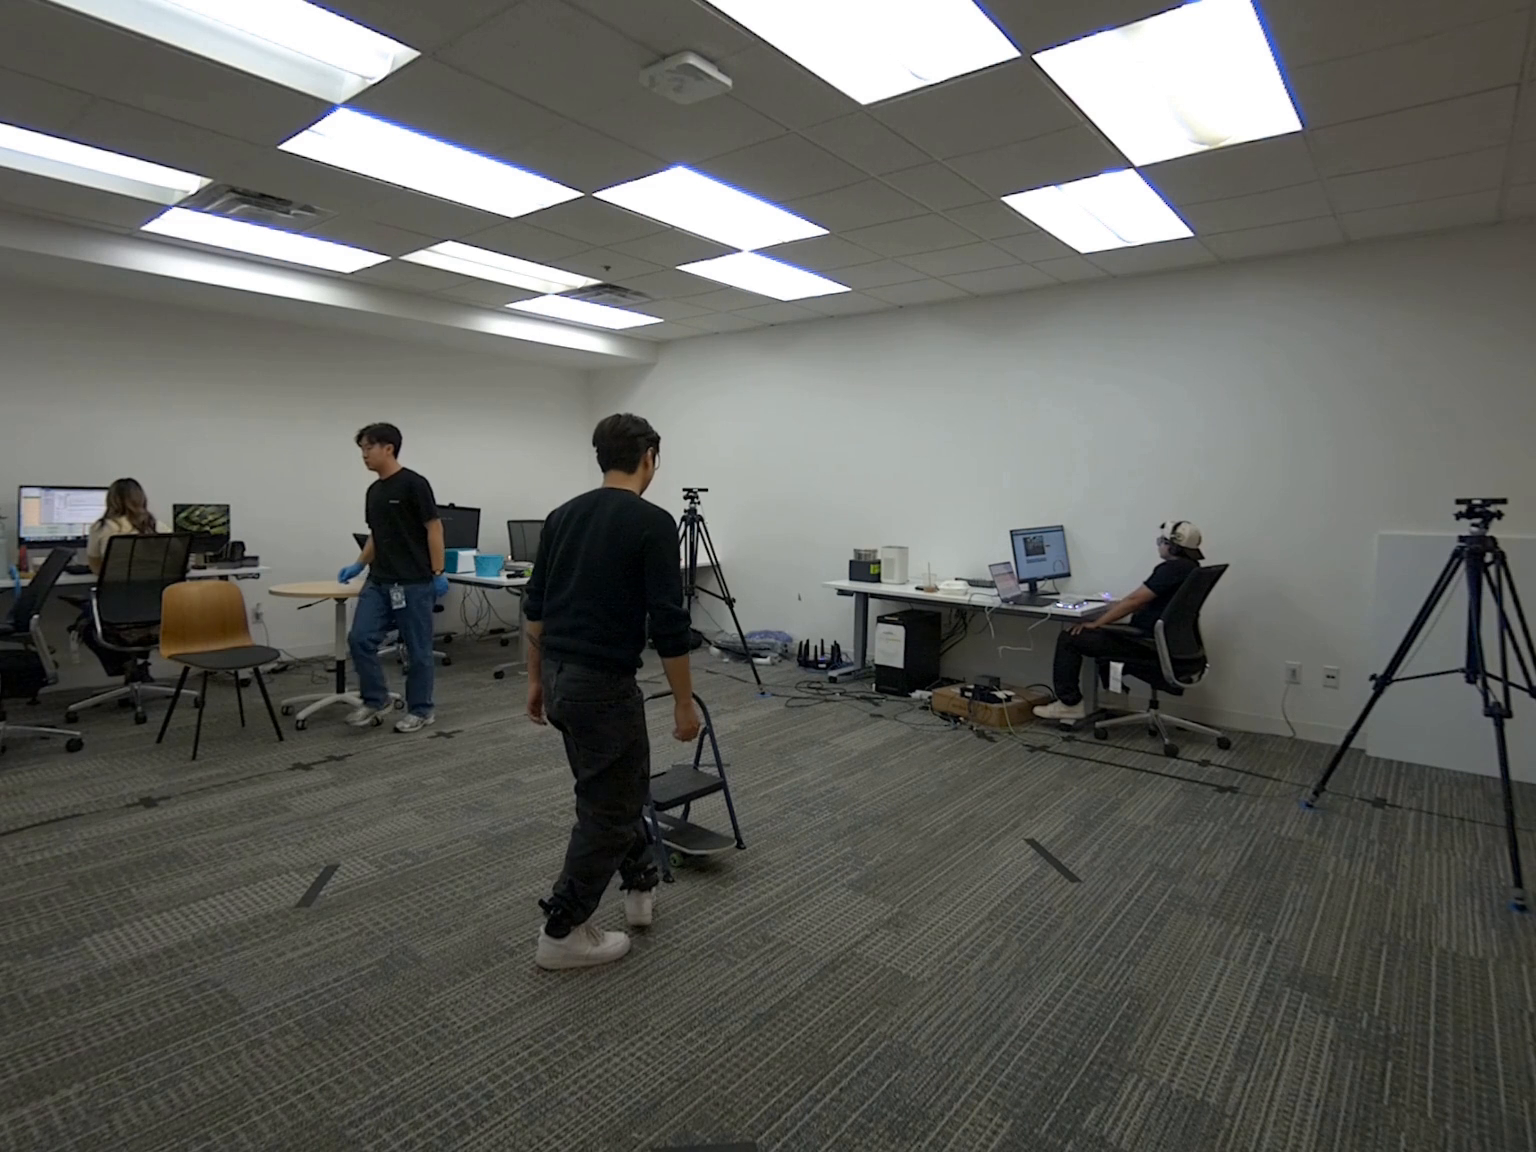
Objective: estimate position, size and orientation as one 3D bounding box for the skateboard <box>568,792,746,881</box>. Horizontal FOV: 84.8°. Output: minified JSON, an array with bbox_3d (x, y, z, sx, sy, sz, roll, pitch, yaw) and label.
[{"bbox_3d":[-0.459,0.983,3.307,0.812,0.110,0.188,6,7,39],"label":"skateboard"}]
